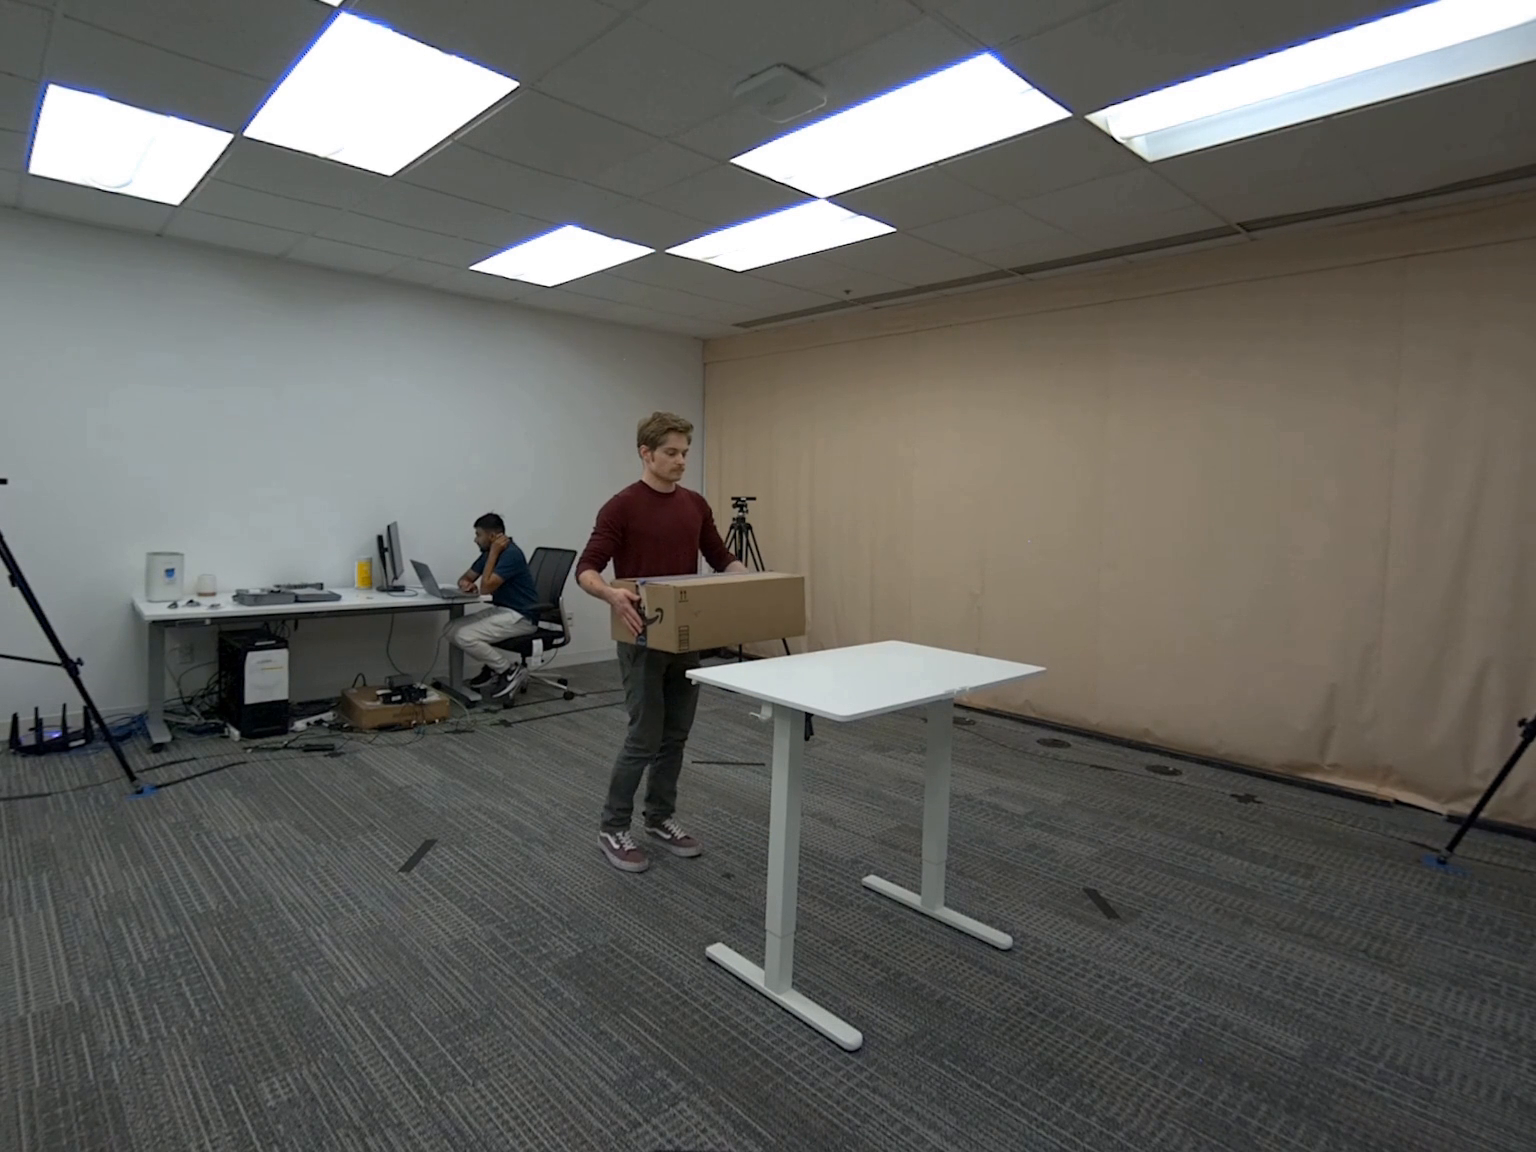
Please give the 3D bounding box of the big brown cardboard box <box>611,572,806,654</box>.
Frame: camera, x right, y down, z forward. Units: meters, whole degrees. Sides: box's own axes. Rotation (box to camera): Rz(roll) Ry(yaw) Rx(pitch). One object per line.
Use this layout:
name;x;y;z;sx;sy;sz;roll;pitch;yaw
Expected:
big brown cardboard box;-0.211;0.110;2.989;0.576;0.232;0.427;-5;5;-39
